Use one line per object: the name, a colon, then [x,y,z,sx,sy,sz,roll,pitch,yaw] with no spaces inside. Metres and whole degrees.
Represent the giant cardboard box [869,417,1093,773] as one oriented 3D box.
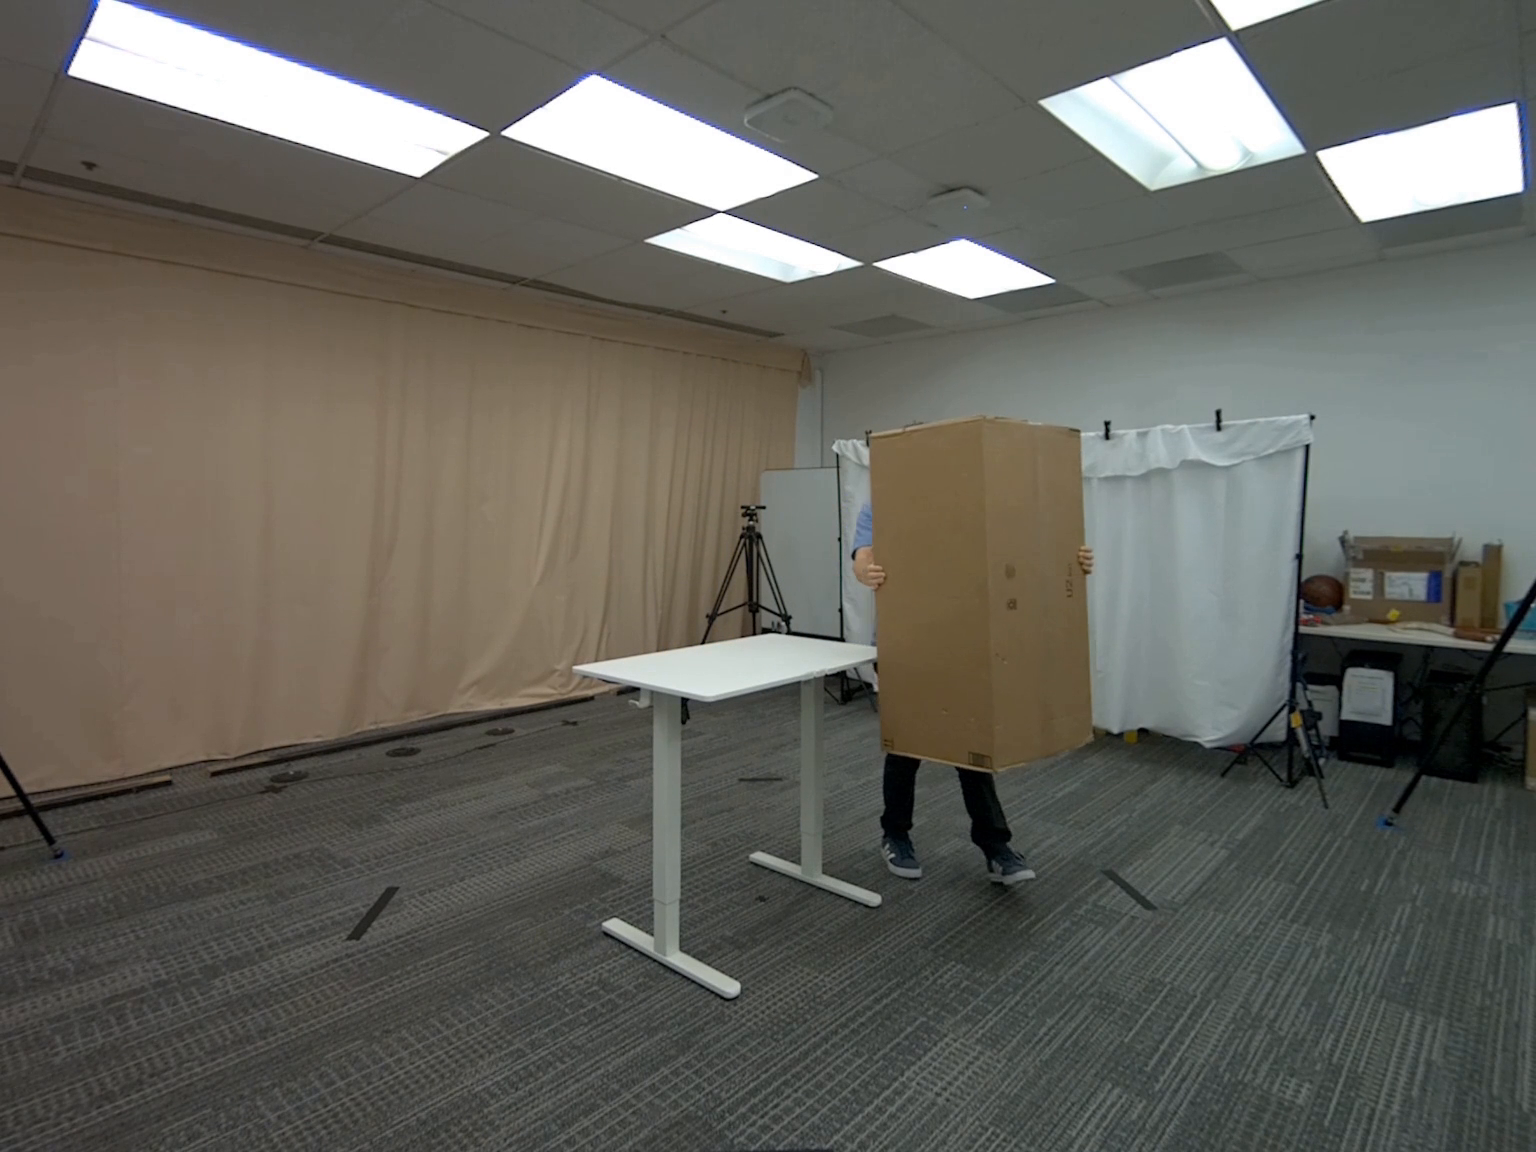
giant cardboard box: [0.698,0.041,2.721,0.560,1.026,0.439,-2,-1,-41]
